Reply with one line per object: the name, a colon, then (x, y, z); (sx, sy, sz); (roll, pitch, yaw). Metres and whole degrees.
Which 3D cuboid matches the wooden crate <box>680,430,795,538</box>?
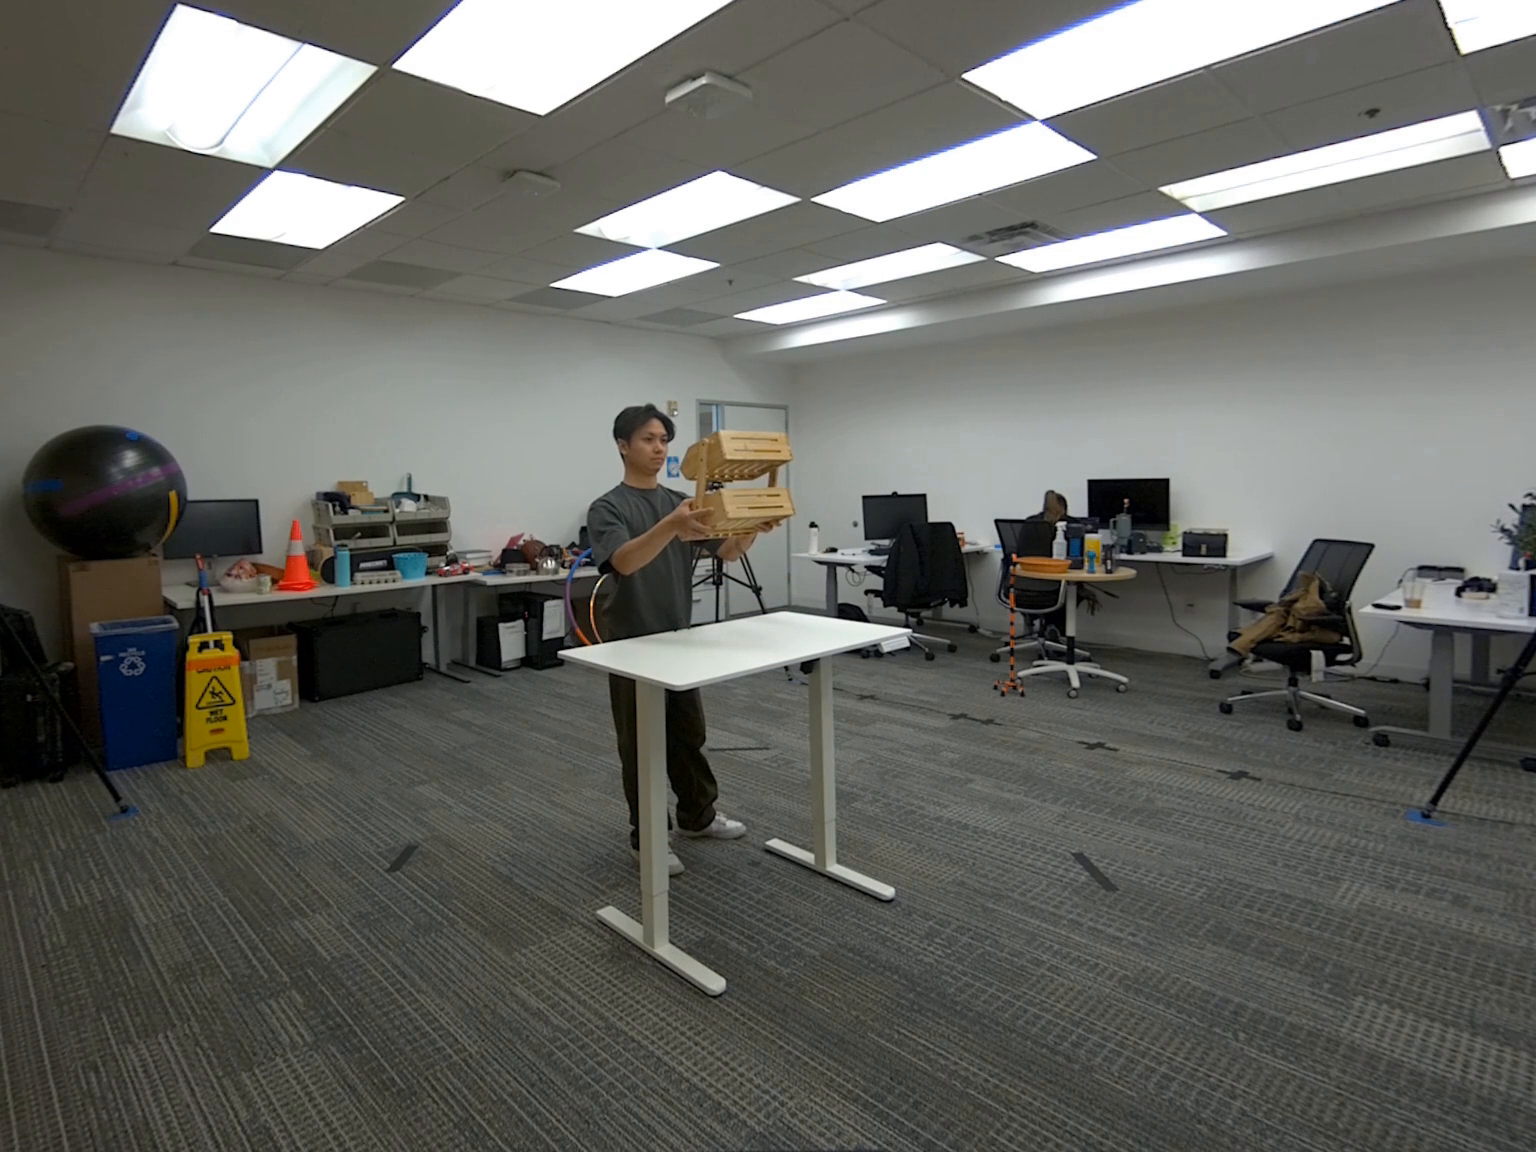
wooden crate: (-0.113, -0.288, 2.729); (0.316, 0.276, 0.307); (-6, -12, -44)
